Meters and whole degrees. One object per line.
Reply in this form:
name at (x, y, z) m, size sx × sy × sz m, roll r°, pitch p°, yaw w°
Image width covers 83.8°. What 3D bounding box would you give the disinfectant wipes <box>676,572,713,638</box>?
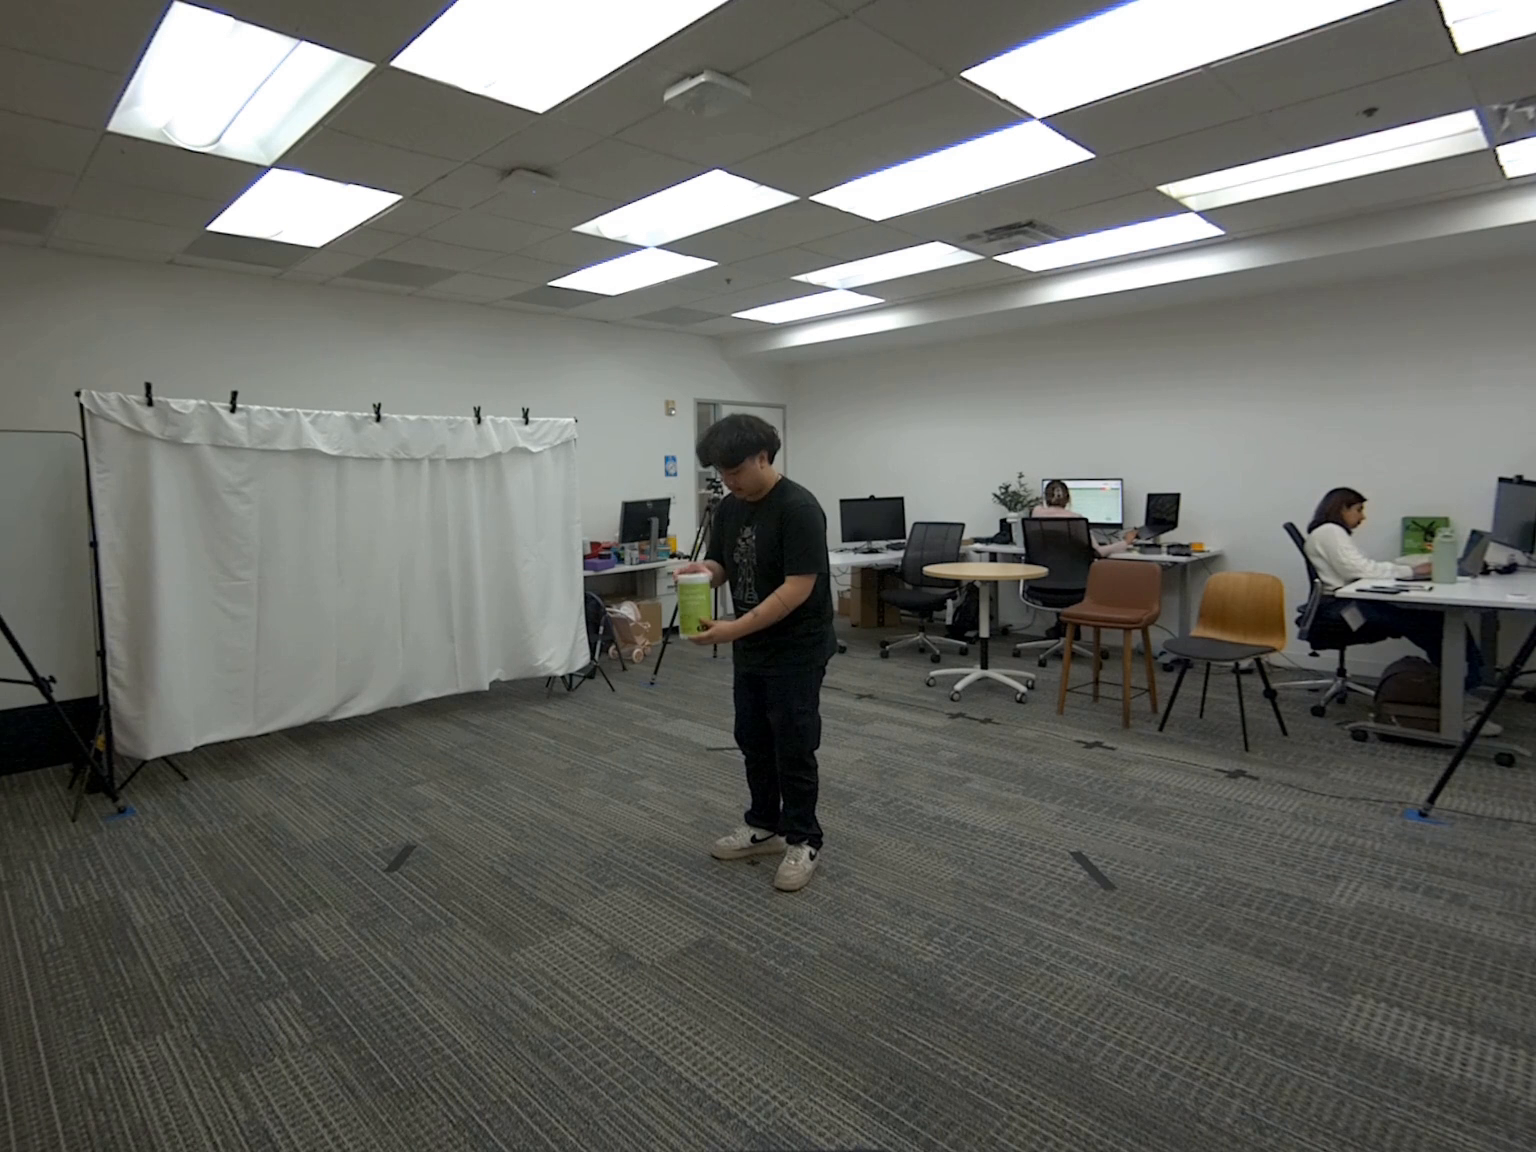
disinfectant wipes at (-0.251, 0.106, 2.850) m, size 0.118 × 0.216 × 0.118 m, roll -2°, pitch 6°, yaw -1°
